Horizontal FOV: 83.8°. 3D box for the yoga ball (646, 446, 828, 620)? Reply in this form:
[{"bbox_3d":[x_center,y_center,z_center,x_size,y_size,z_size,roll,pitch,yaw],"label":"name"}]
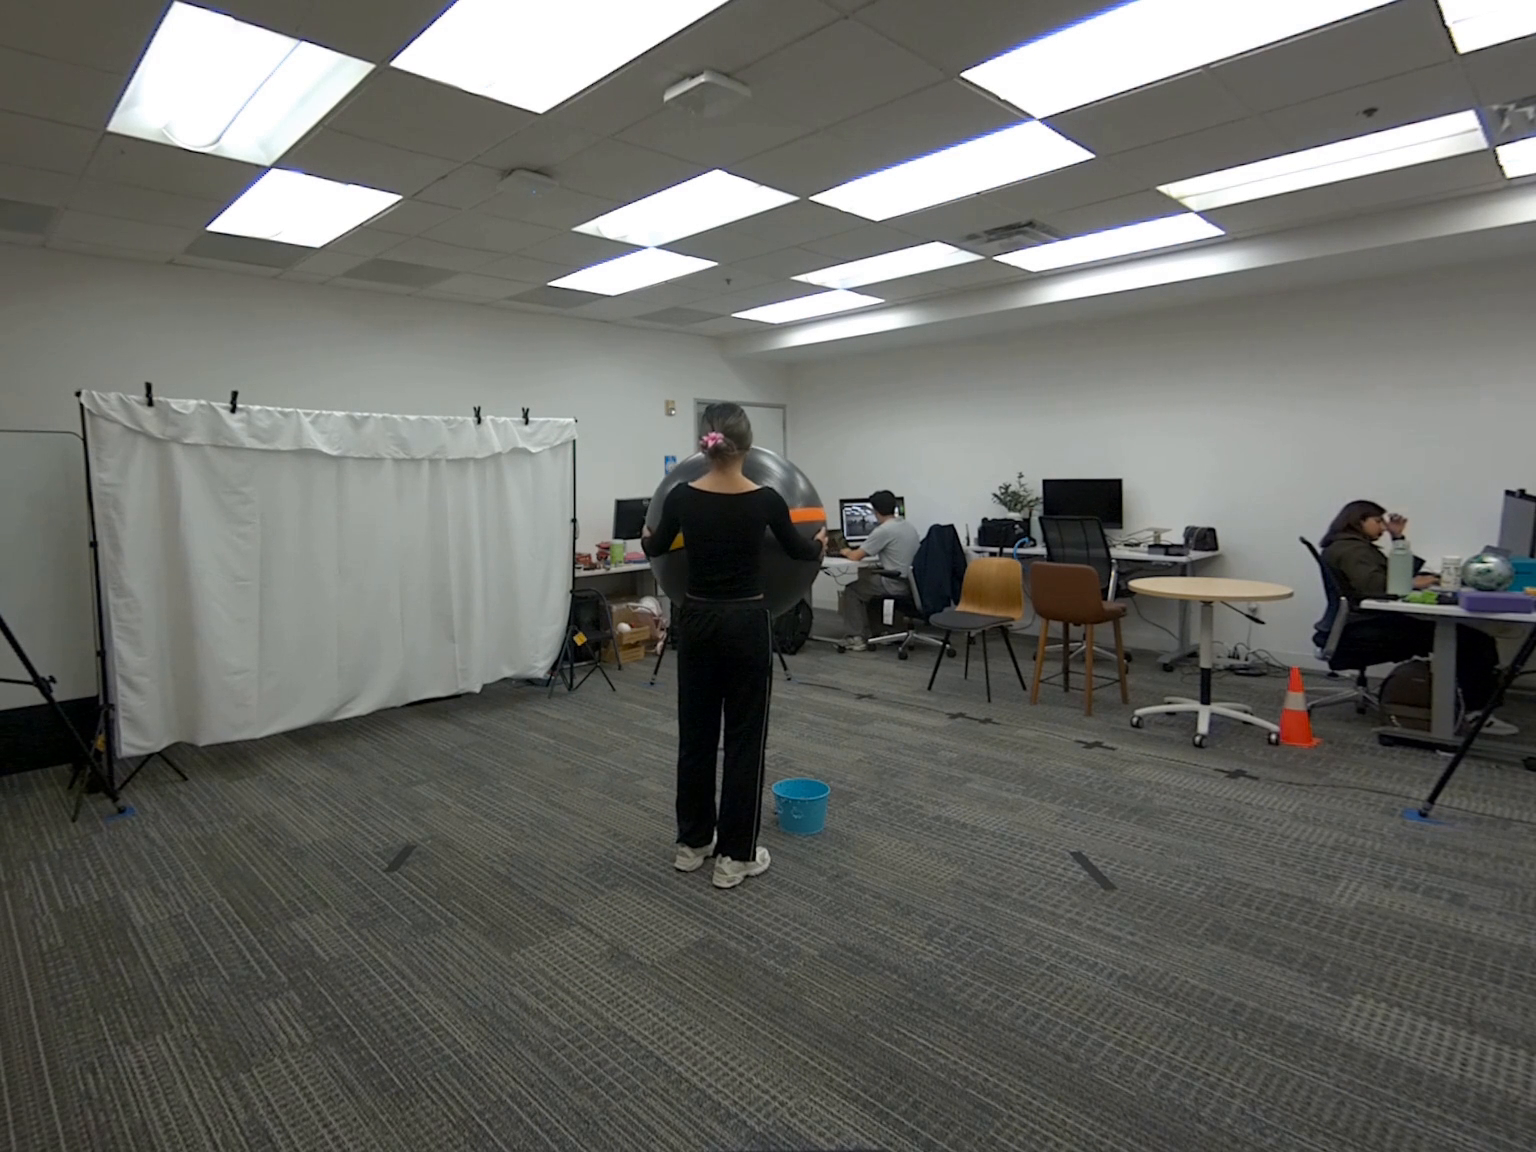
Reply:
[{"bbox_3d":[-0.140,-0.163,3.571,0.757,0.755,0.762,-1,5,-2],"label":"yoga ball"}]
